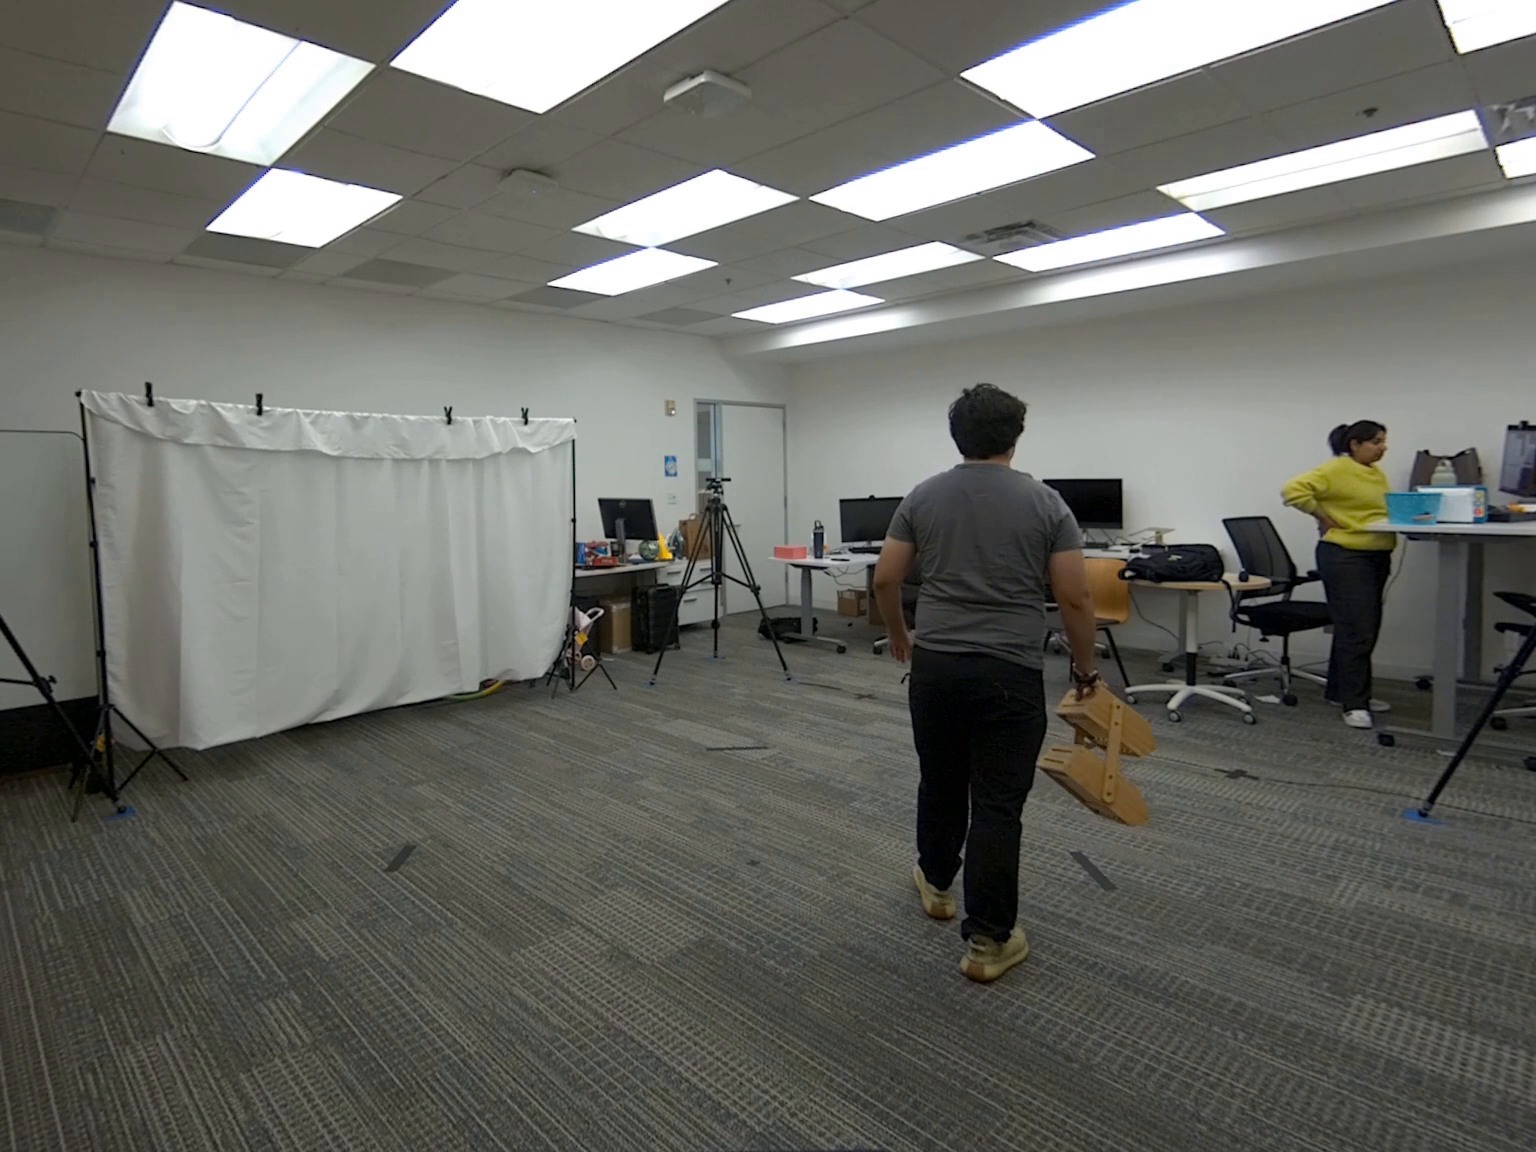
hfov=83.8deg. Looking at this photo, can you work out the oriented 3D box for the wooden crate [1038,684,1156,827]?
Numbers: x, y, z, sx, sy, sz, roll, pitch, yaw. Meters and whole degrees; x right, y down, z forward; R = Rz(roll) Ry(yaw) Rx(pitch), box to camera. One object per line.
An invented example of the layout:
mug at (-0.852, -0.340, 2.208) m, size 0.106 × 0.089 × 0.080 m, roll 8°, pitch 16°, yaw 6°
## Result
wooden crate at (0.987, 0.519, 2.517) m, size 0.306 × 0.273 × 0.320 m, roll 38°, pitch -6°, yaw 9°
